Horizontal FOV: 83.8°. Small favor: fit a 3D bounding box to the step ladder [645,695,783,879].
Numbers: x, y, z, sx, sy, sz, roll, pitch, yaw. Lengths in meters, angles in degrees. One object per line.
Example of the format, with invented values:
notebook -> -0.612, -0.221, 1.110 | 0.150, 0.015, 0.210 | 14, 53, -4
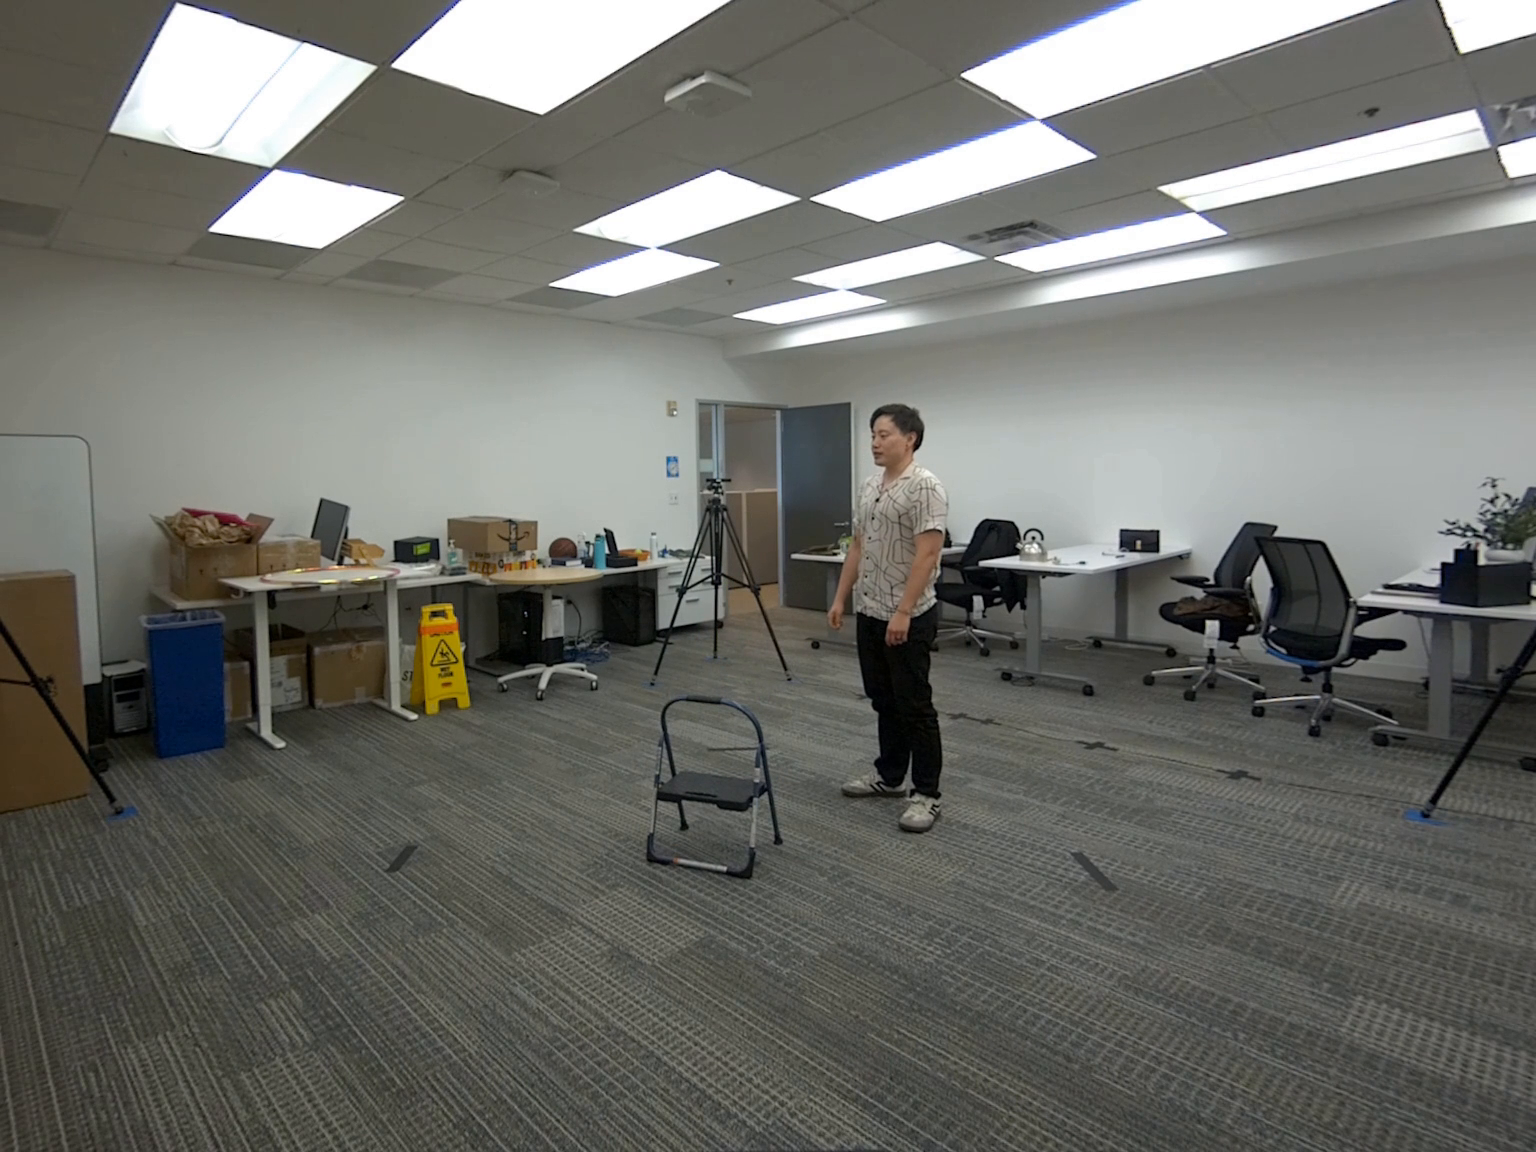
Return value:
step ladder -> -0.203, 0.733, 3.193 | 0.439, 0.604, 0.343 | 1, 4, 21
